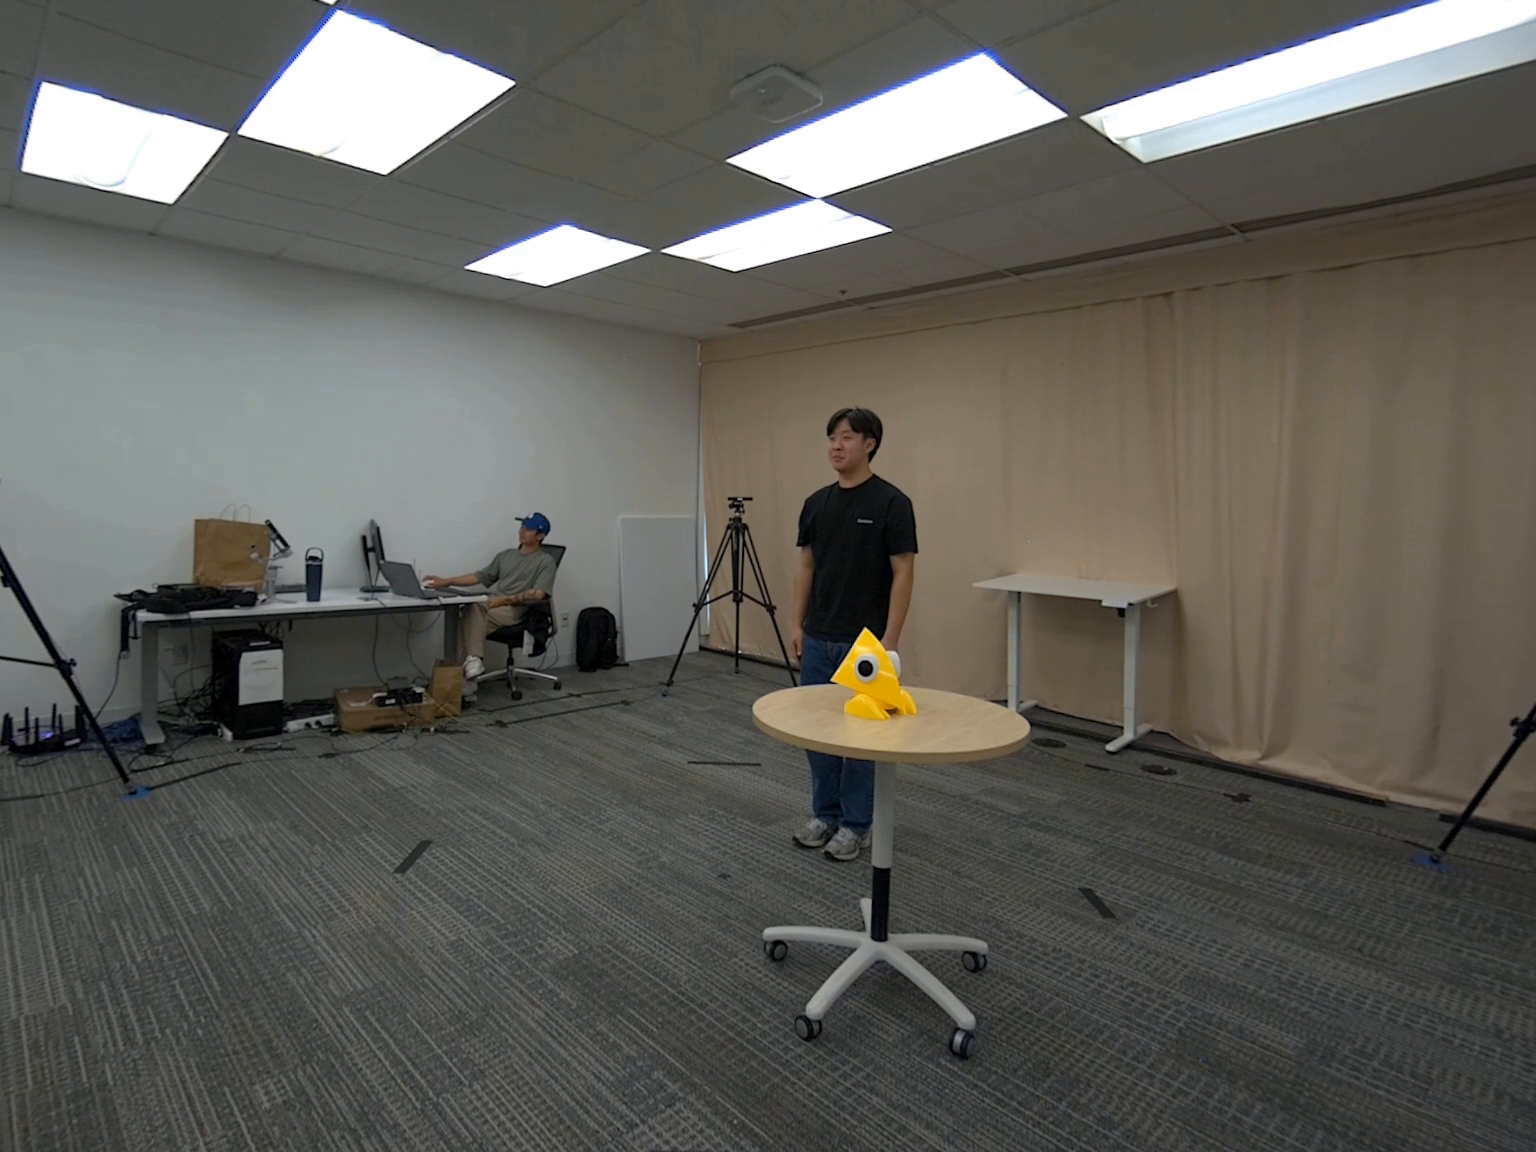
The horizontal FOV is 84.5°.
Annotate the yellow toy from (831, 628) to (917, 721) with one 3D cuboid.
[{"bbox_3d":[0.306,0.275,2.404,0.200,0.230,0.198,-1,5,-36],"label":"yellow toy"}]
